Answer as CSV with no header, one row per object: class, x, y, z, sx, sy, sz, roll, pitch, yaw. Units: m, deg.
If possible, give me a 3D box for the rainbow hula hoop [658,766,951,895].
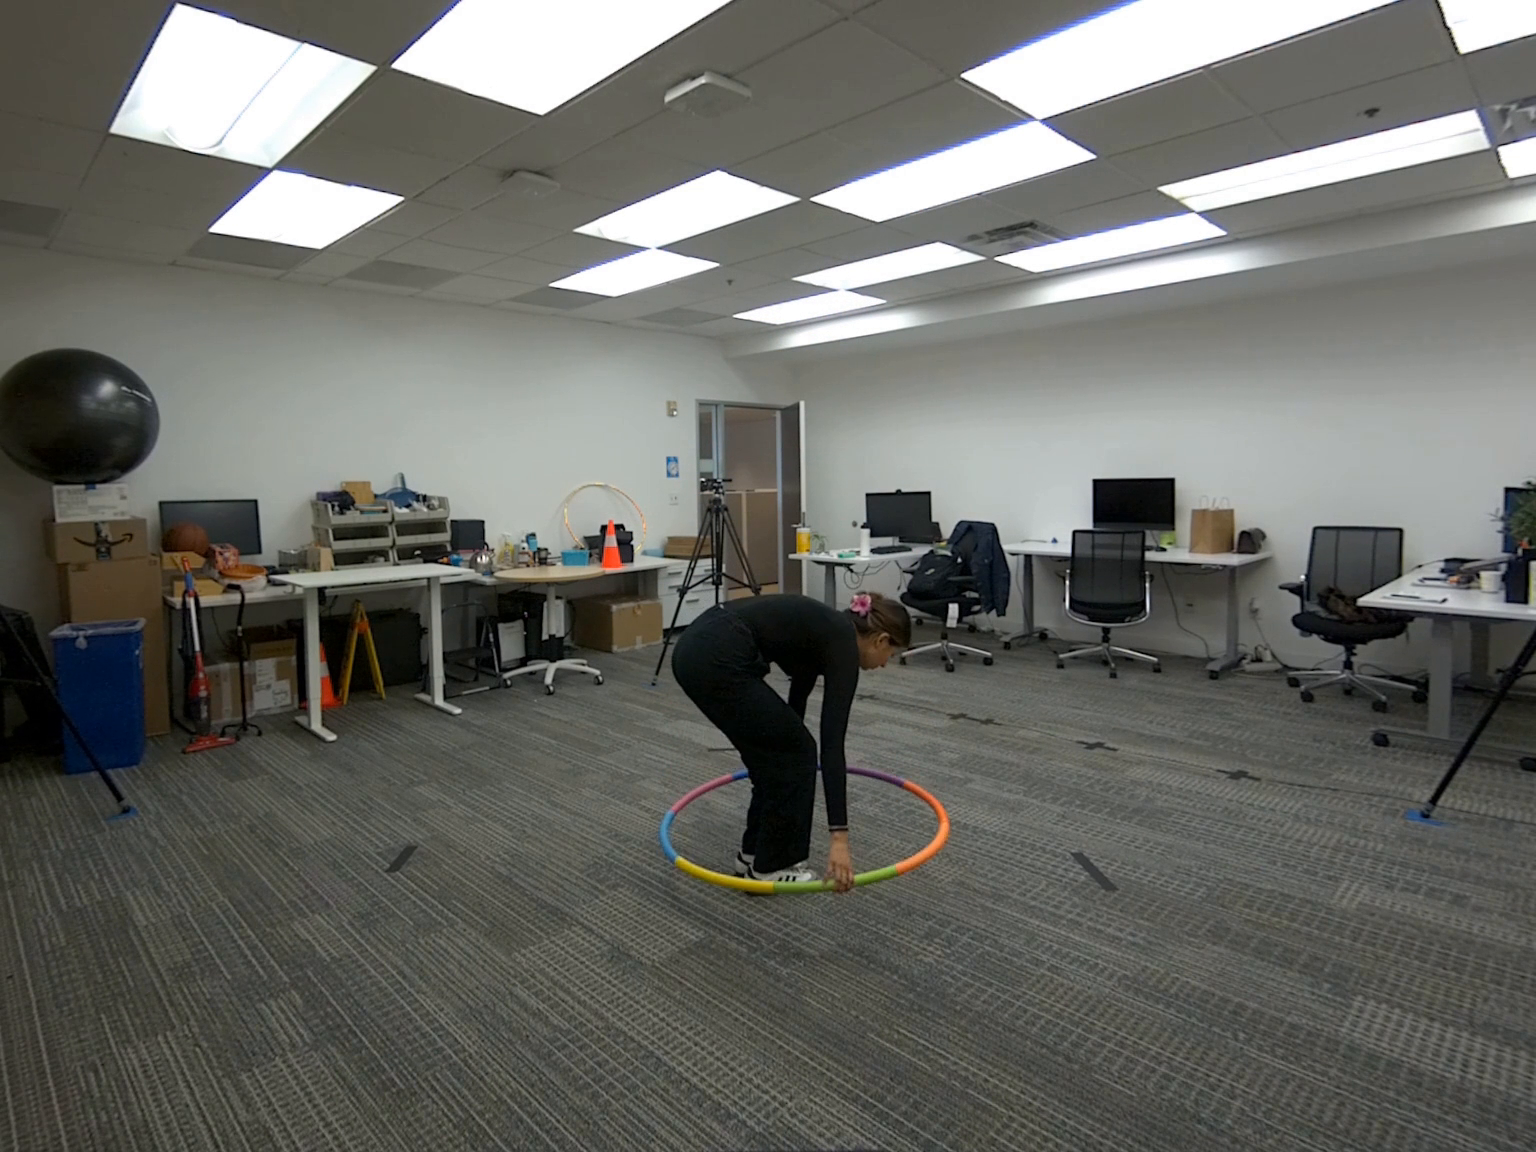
rainbow hula hoop,0.115,0.843,2.971,0.978,0.035,0.986,-5,8,-1
